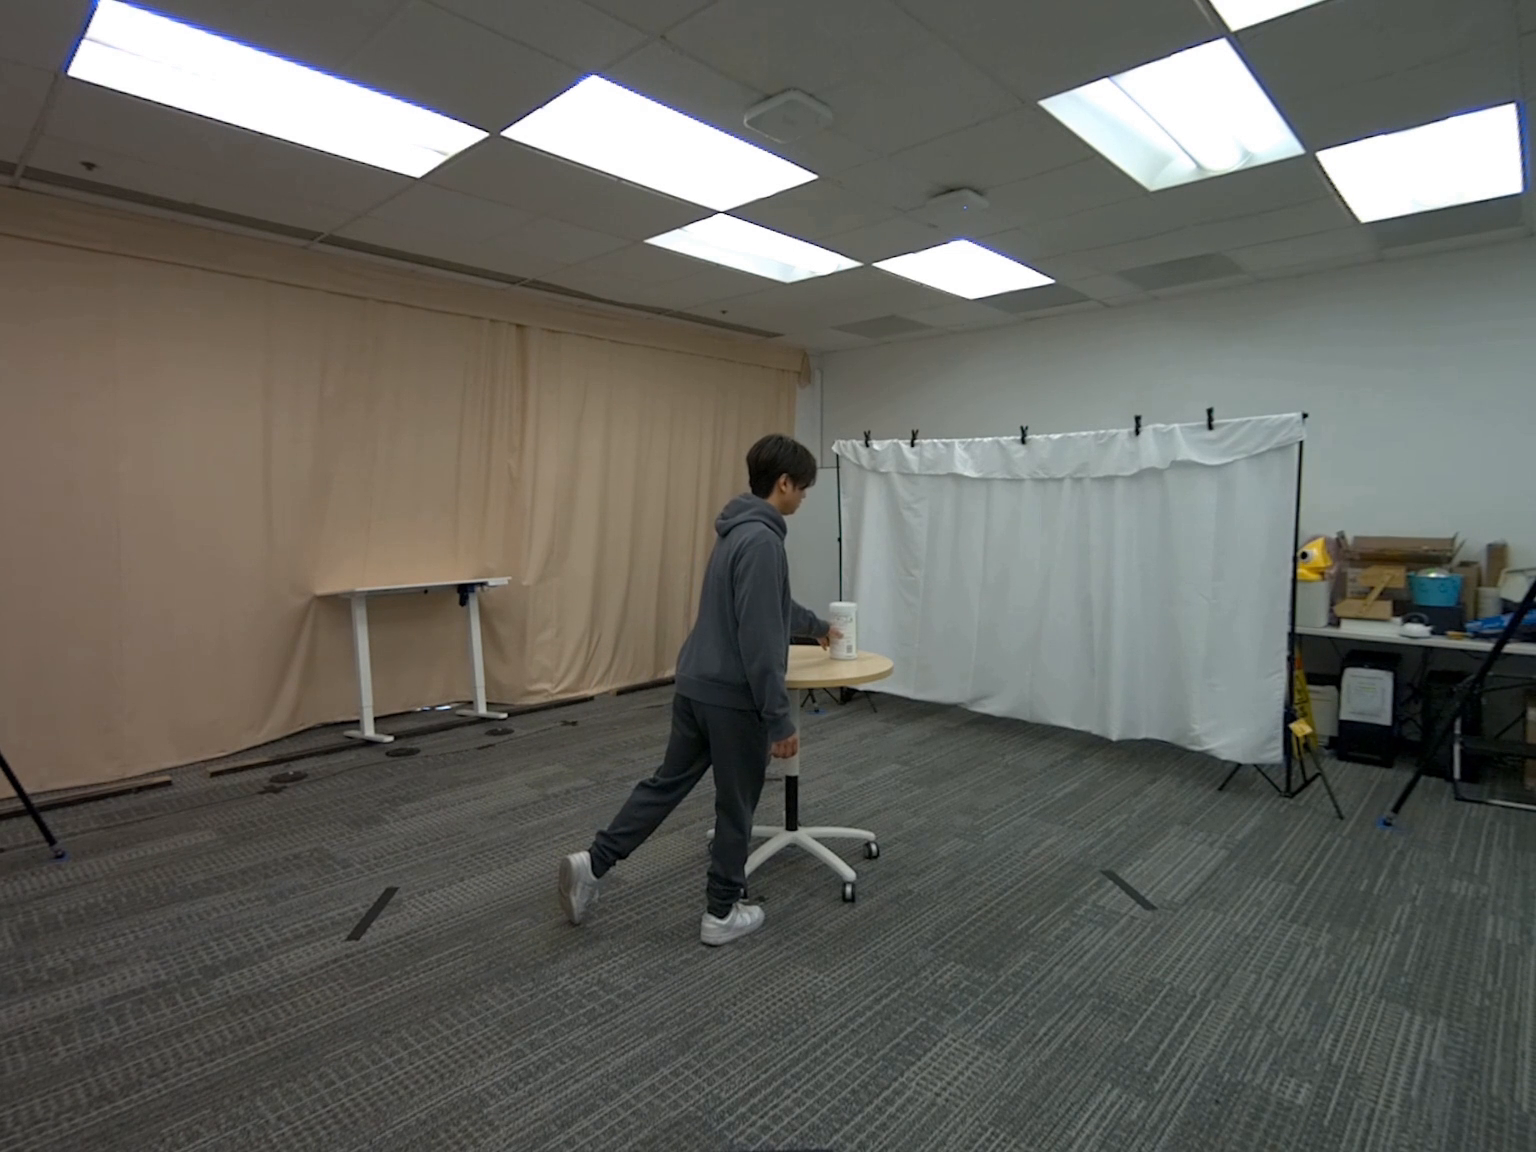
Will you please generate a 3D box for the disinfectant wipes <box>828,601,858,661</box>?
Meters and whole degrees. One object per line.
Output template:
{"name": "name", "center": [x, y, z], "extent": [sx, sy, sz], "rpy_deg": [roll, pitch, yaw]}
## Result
{"name": "disinfectant wipes", "center": [0.298, 0.214, 3.285], "extent": [0.118, 0.217, 0.118], "rpy_deg": [0, 2, -2]}
